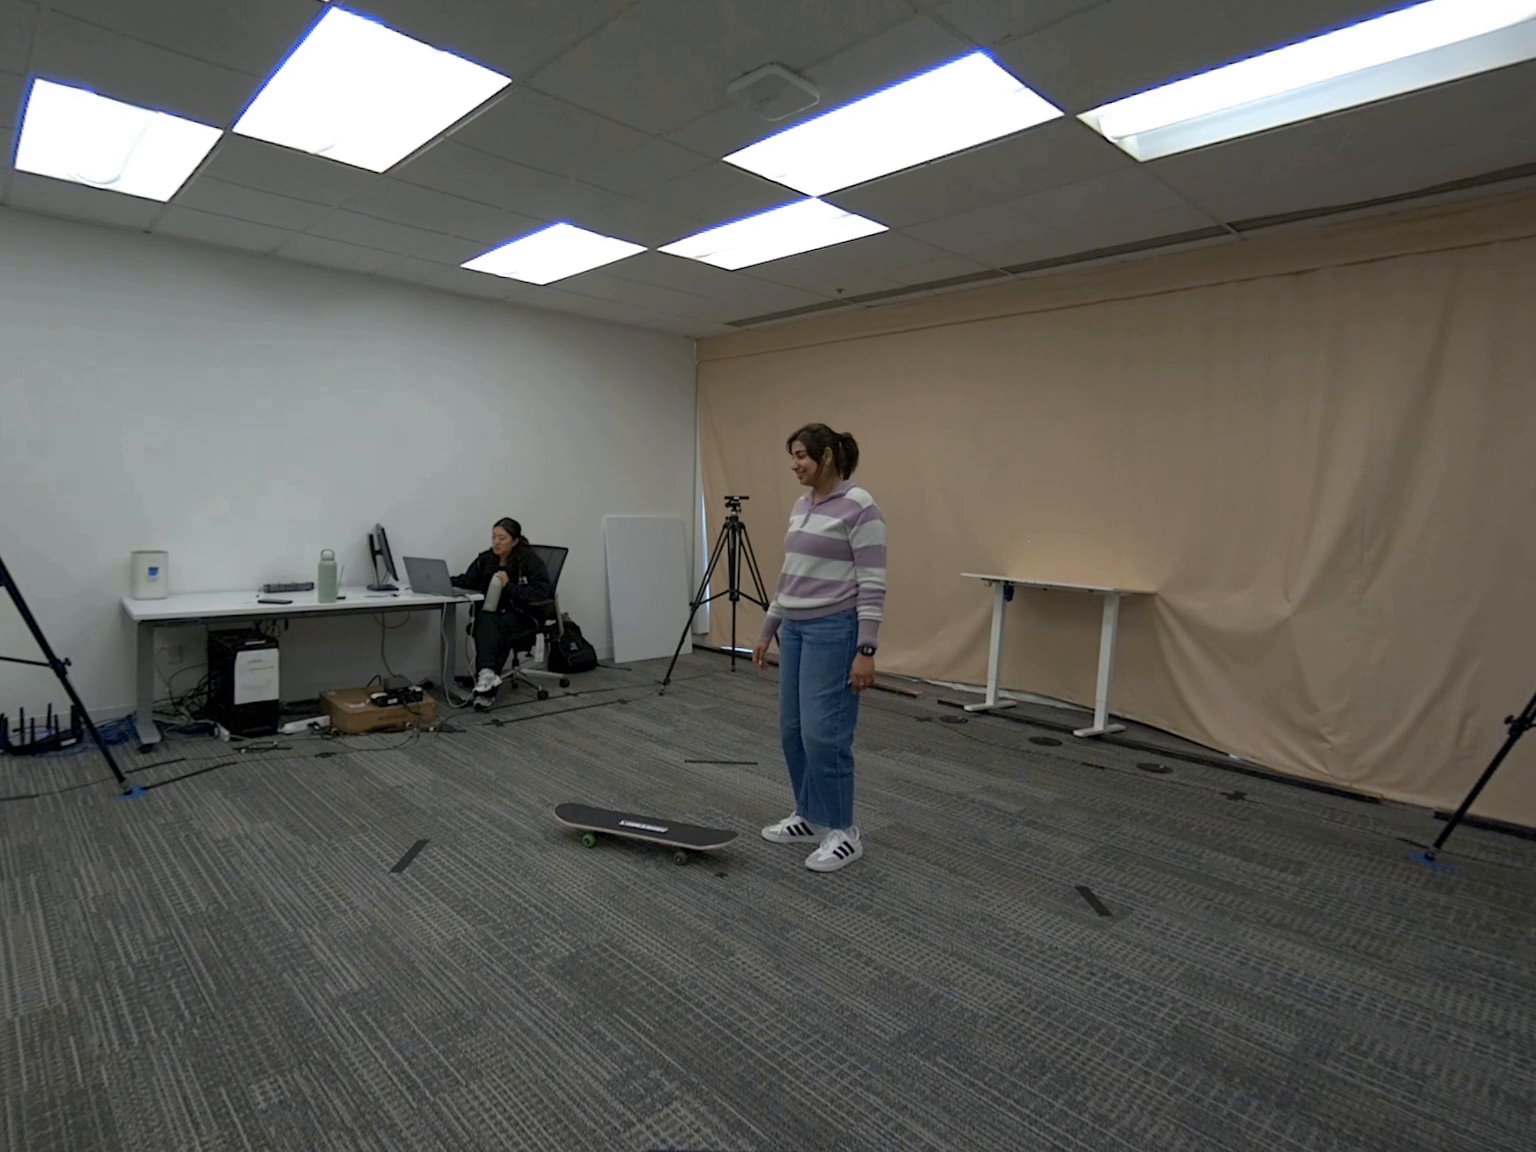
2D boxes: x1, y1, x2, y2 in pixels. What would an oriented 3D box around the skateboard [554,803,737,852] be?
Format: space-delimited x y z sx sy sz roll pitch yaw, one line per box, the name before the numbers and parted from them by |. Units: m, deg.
skateboard | -0.498 1.014 3.328 0.799 0.110 0.191 4 4 21
